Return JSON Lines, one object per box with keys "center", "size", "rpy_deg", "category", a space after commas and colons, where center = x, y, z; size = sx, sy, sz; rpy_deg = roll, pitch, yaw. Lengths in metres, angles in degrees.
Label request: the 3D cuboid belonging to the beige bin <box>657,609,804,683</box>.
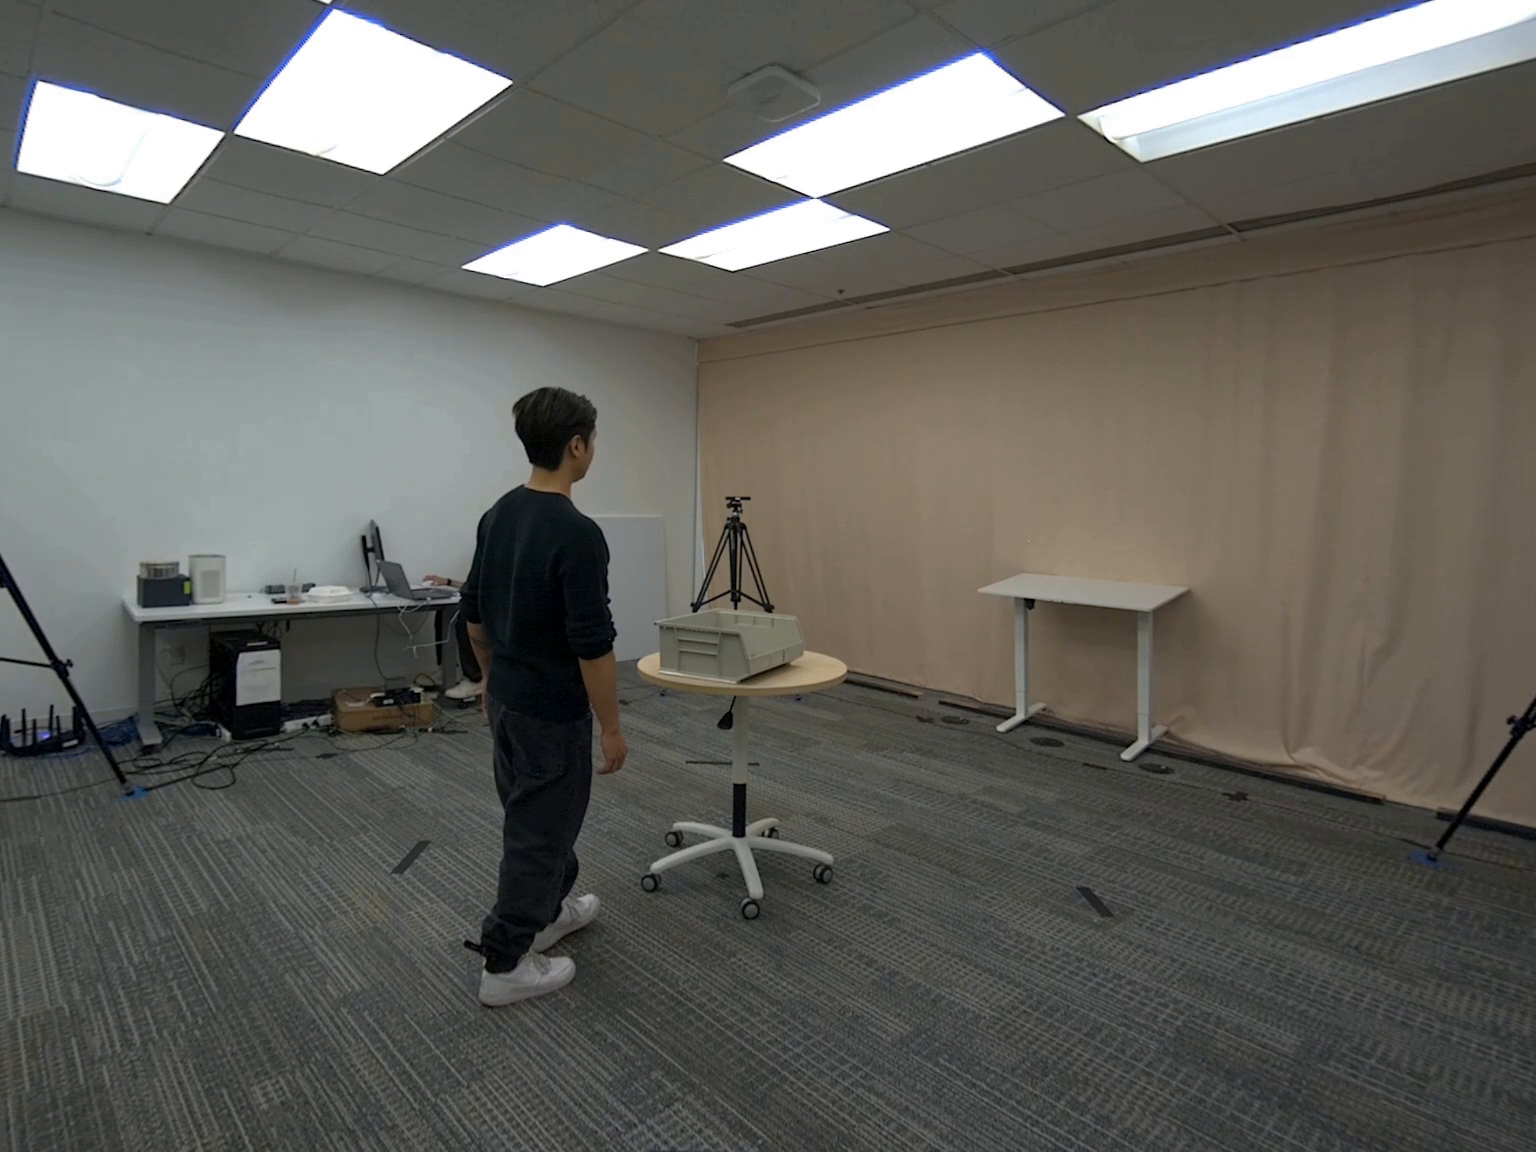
{"center": [-0.139, 0.243, 2.988], "size": [0.385, 0.188, 0.415], "rpy_deg": [2, 5, 28], "category": "beige bin"}
